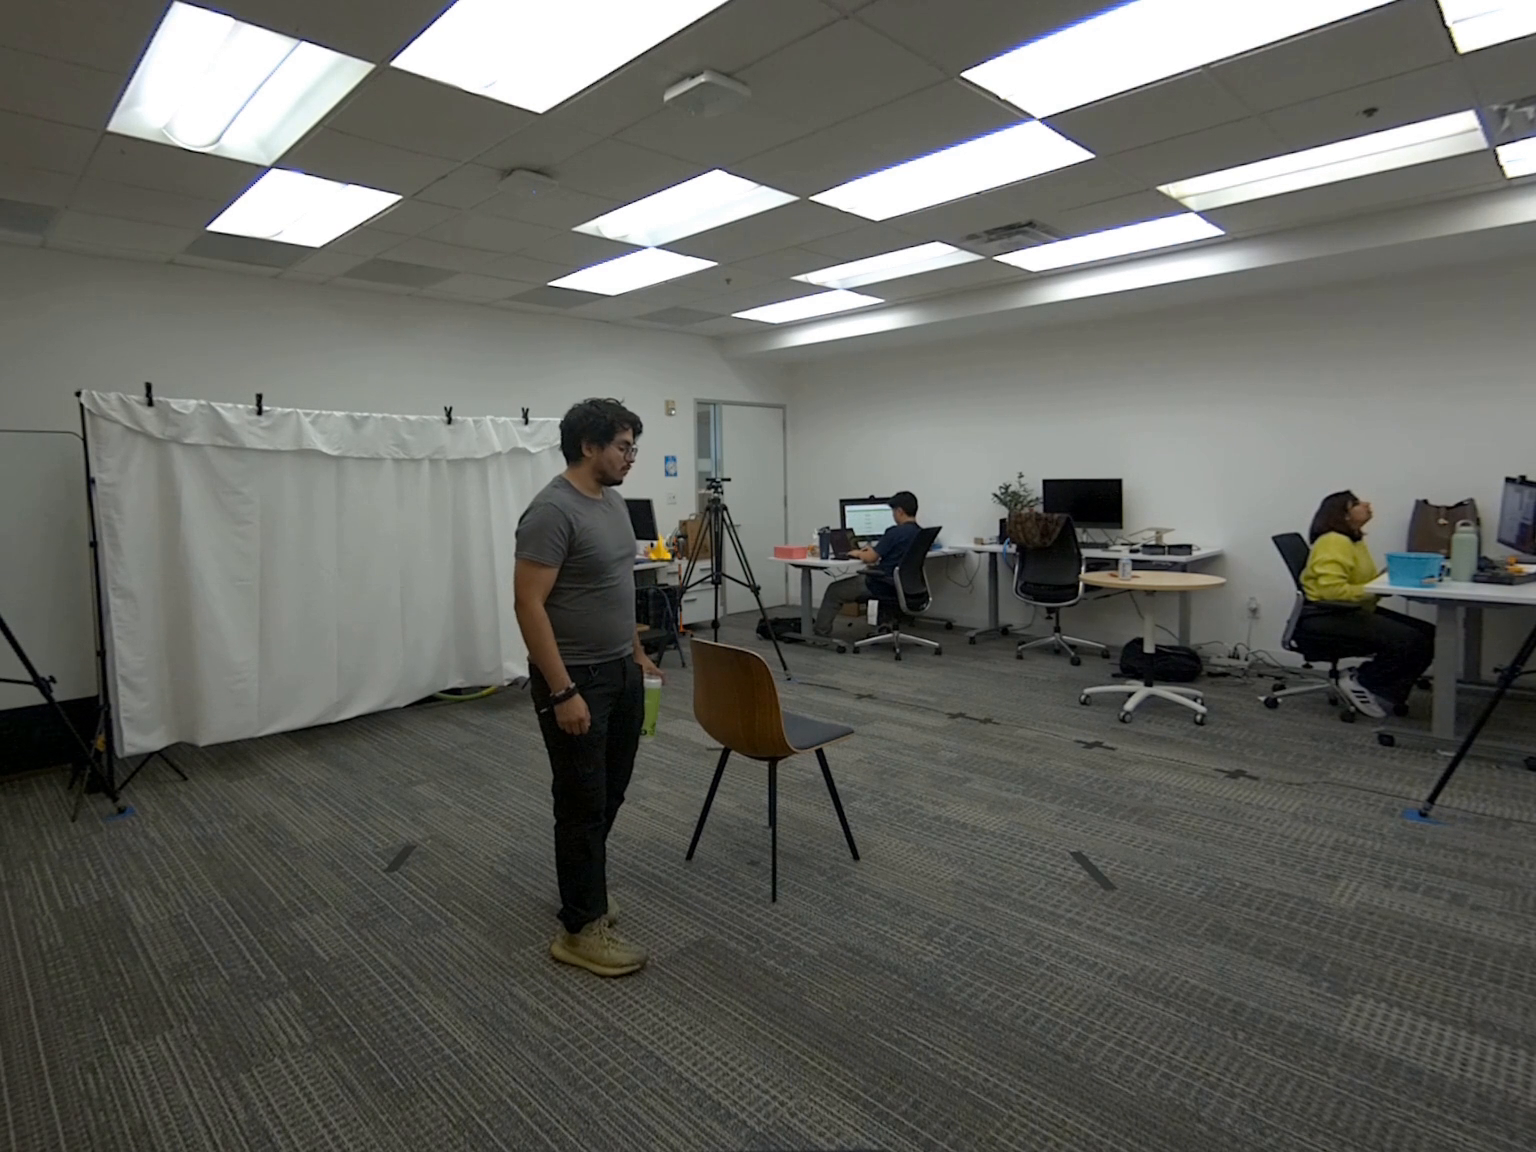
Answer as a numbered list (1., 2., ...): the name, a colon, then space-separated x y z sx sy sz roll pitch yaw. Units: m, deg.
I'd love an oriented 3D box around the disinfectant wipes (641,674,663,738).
1. disinfectant wipes: -0.413 0.446 2.859 0.118 0.217 0.118 6 1 -2
